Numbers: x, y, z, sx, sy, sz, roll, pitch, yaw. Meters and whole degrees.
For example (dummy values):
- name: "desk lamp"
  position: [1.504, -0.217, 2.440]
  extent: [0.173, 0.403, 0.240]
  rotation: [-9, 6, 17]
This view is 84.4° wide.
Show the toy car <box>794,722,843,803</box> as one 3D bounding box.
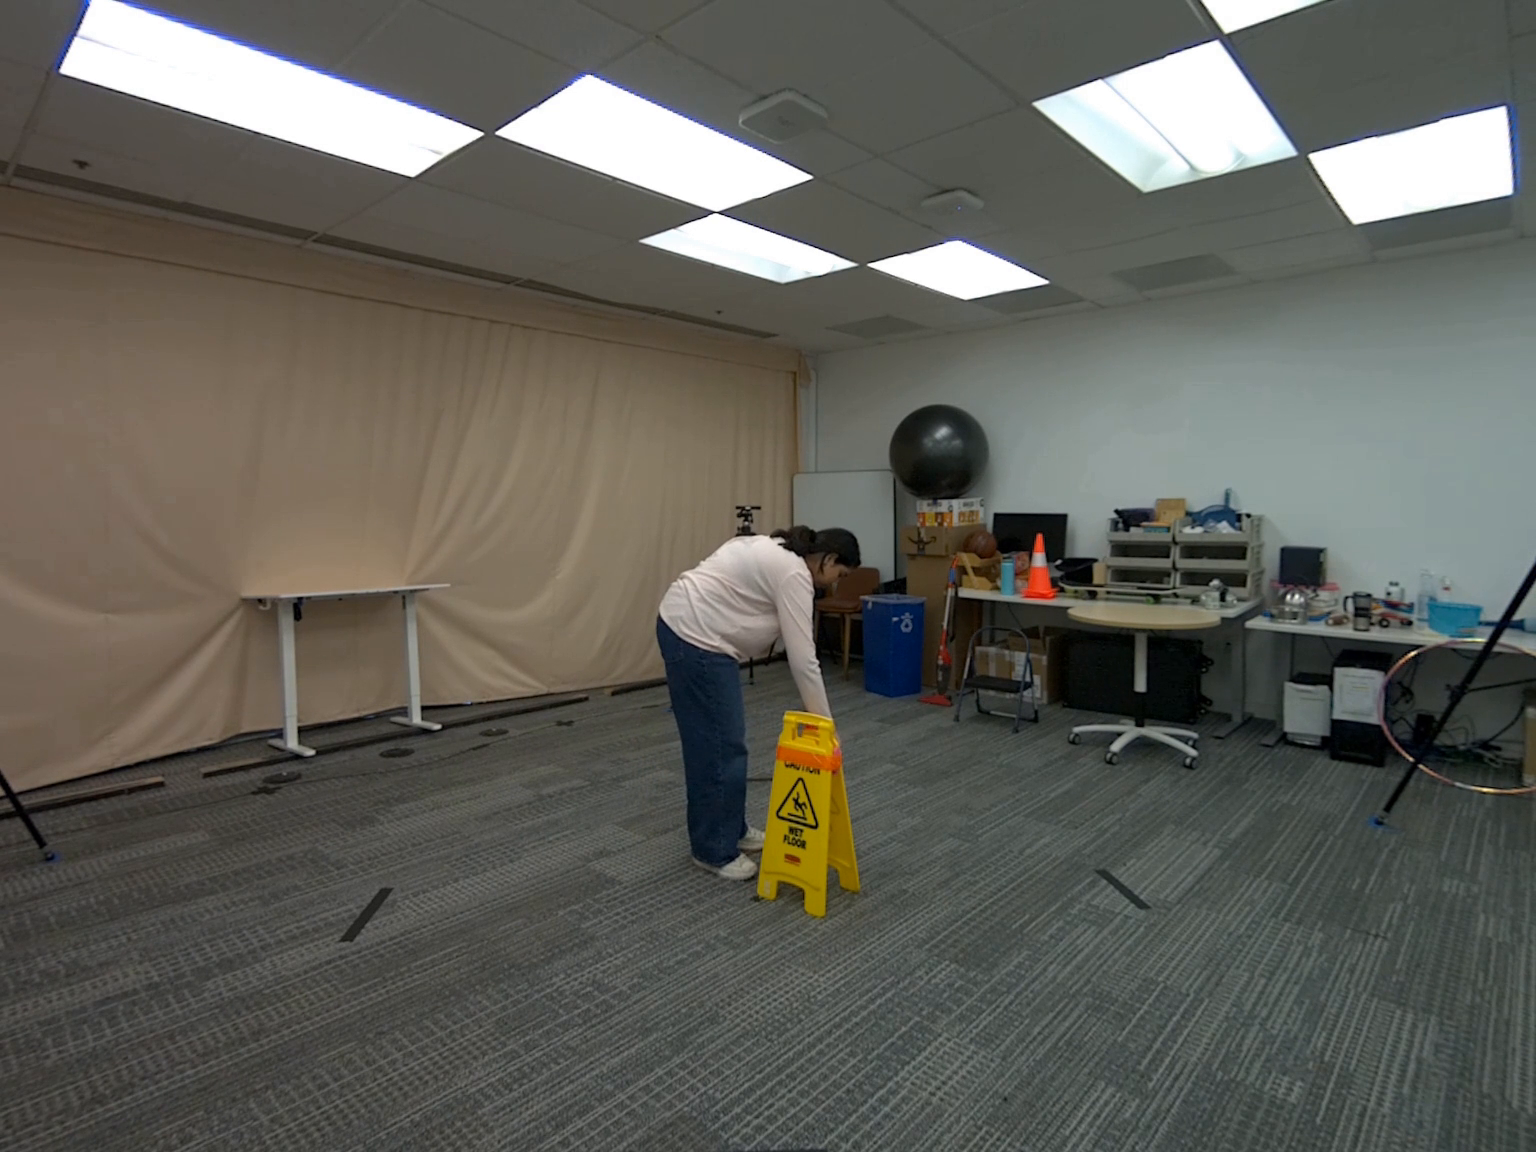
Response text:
- name: "toy car"
  position: [0.180, 0.667, 3.053]
  extent: [0.134, 0.255, 0.081]
  rotation: [-5, -1, 37]
